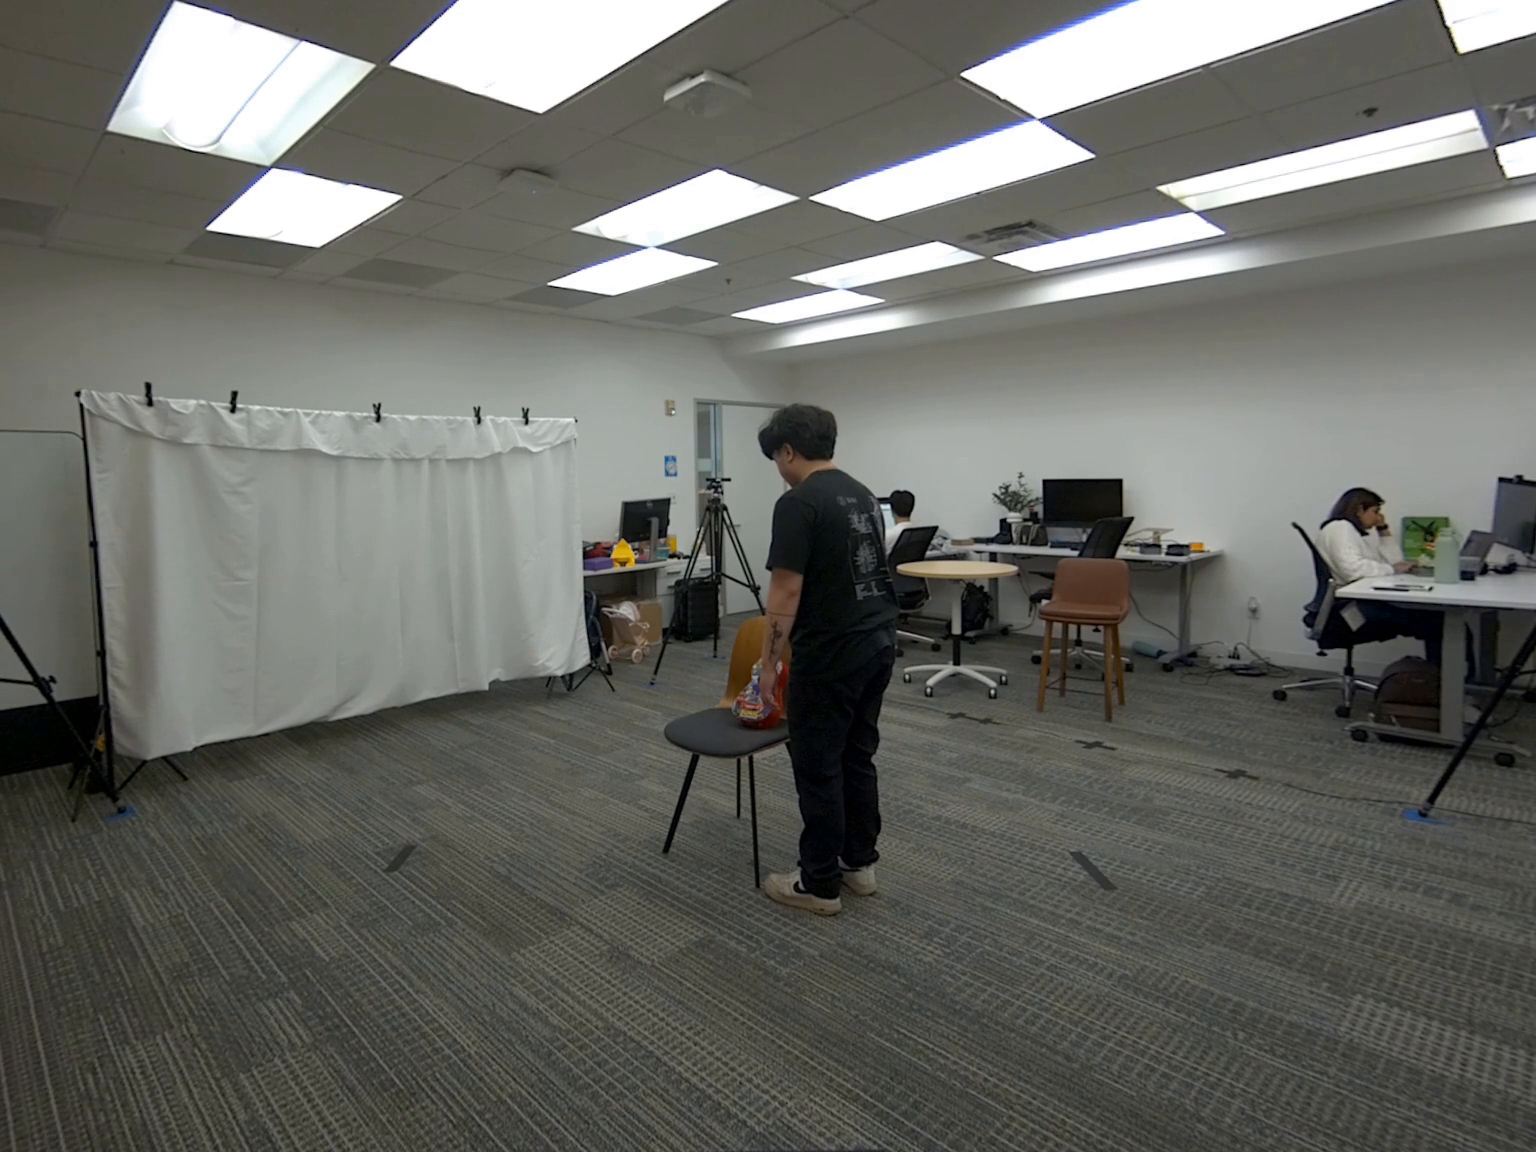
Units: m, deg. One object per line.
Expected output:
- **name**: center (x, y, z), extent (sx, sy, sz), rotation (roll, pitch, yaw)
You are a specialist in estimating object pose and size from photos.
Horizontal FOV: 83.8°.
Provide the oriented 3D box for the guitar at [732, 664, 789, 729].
- **guitar**: center (0.029, 0.342, 3.250), extent (0.199, 0.502, 0.068), rotation (4, -29, 43)
